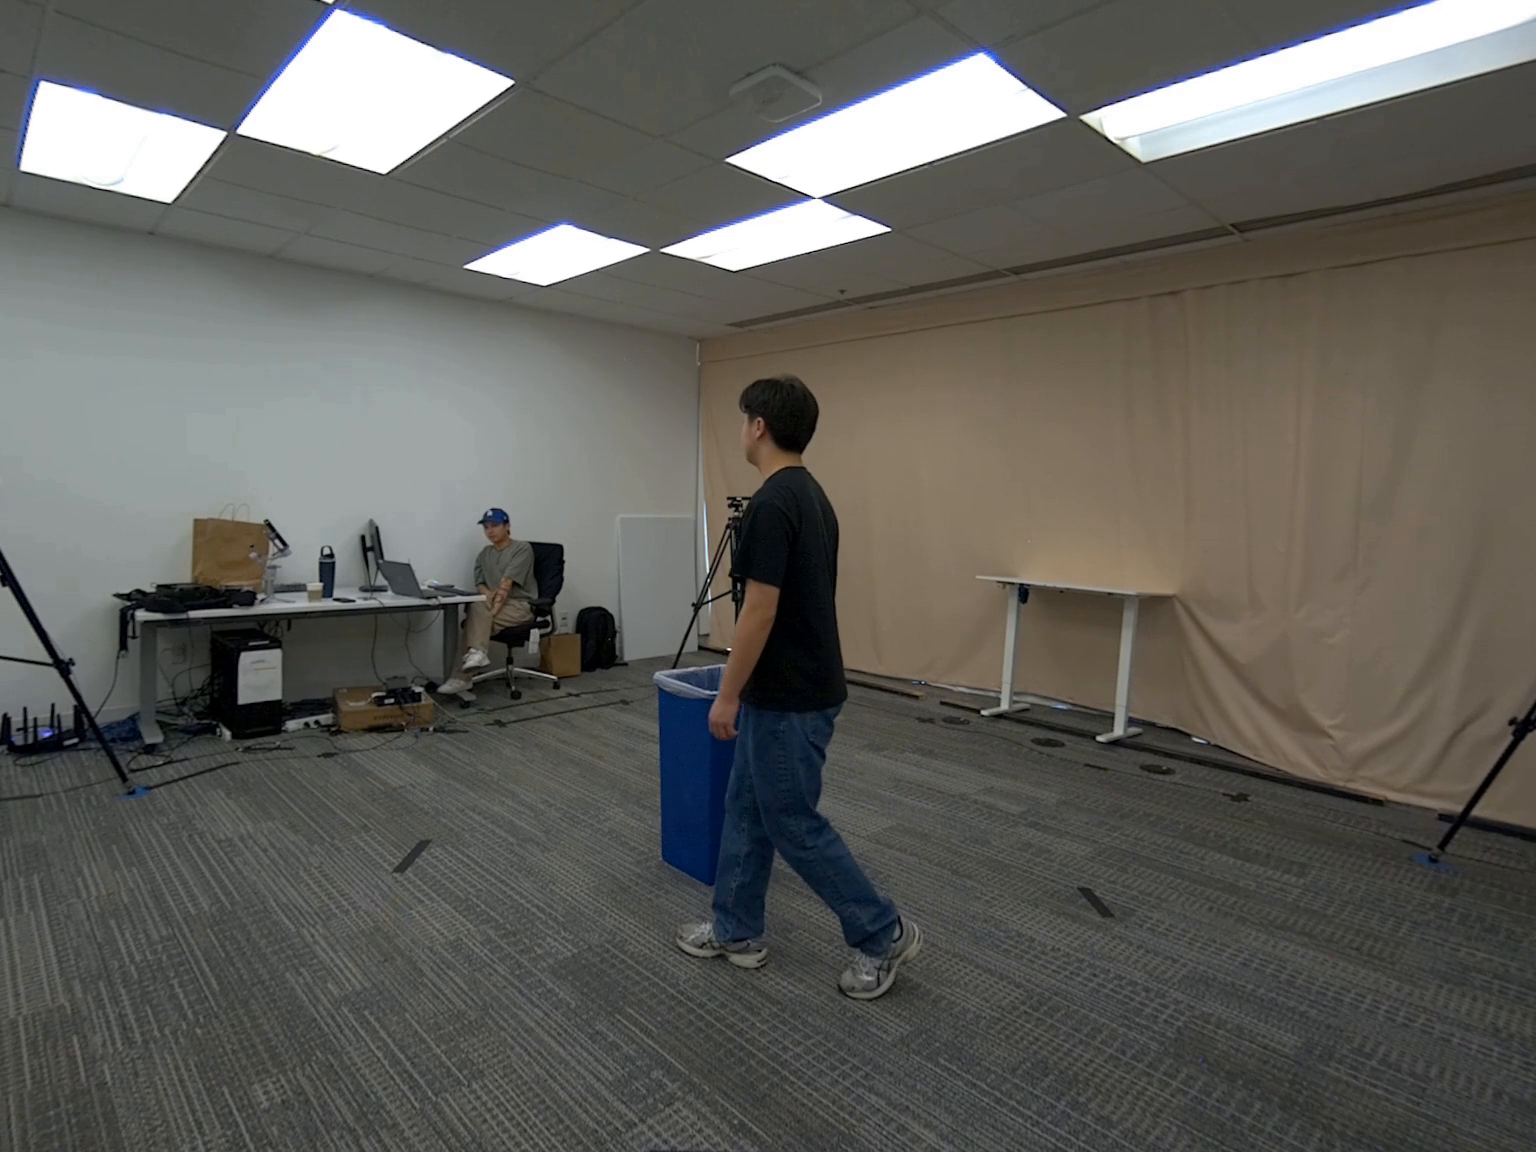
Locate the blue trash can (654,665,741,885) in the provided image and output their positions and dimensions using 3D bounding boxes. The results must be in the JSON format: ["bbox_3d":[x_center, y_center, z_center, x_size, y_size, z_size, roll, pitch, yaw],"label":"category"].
[{"bbox_3d":[-0.201,0.738,3.197,0.365,0.712,0.388,-1,4,-43],"label":"blue trash can"}]
